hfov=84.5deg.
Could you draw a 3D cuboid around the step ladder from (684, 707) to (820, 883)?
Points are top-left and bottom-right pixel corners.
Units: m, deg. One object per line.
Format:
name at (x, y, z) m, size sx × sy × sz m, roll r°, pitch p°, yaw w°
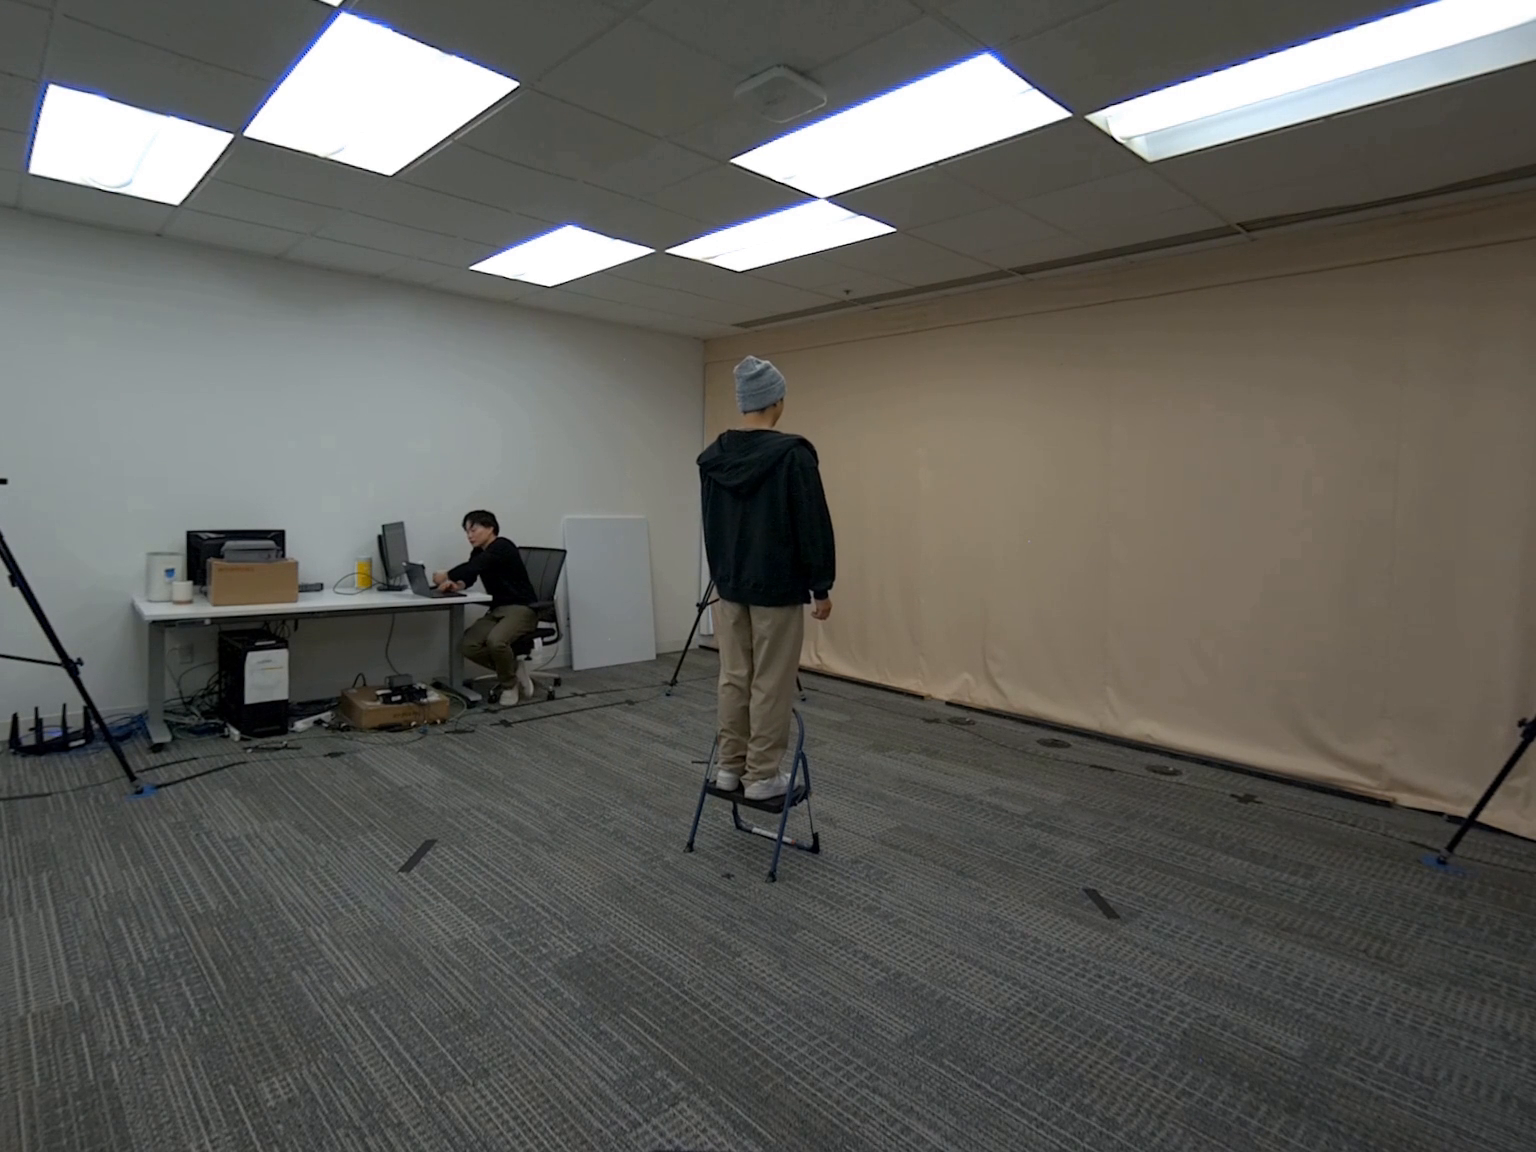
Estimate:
step ladder at (-0.054, 0.789, 3.307) m, size 0.441 × 0.605 × 0.341 m, roll 4°, pitch 4°, yaw 36°
